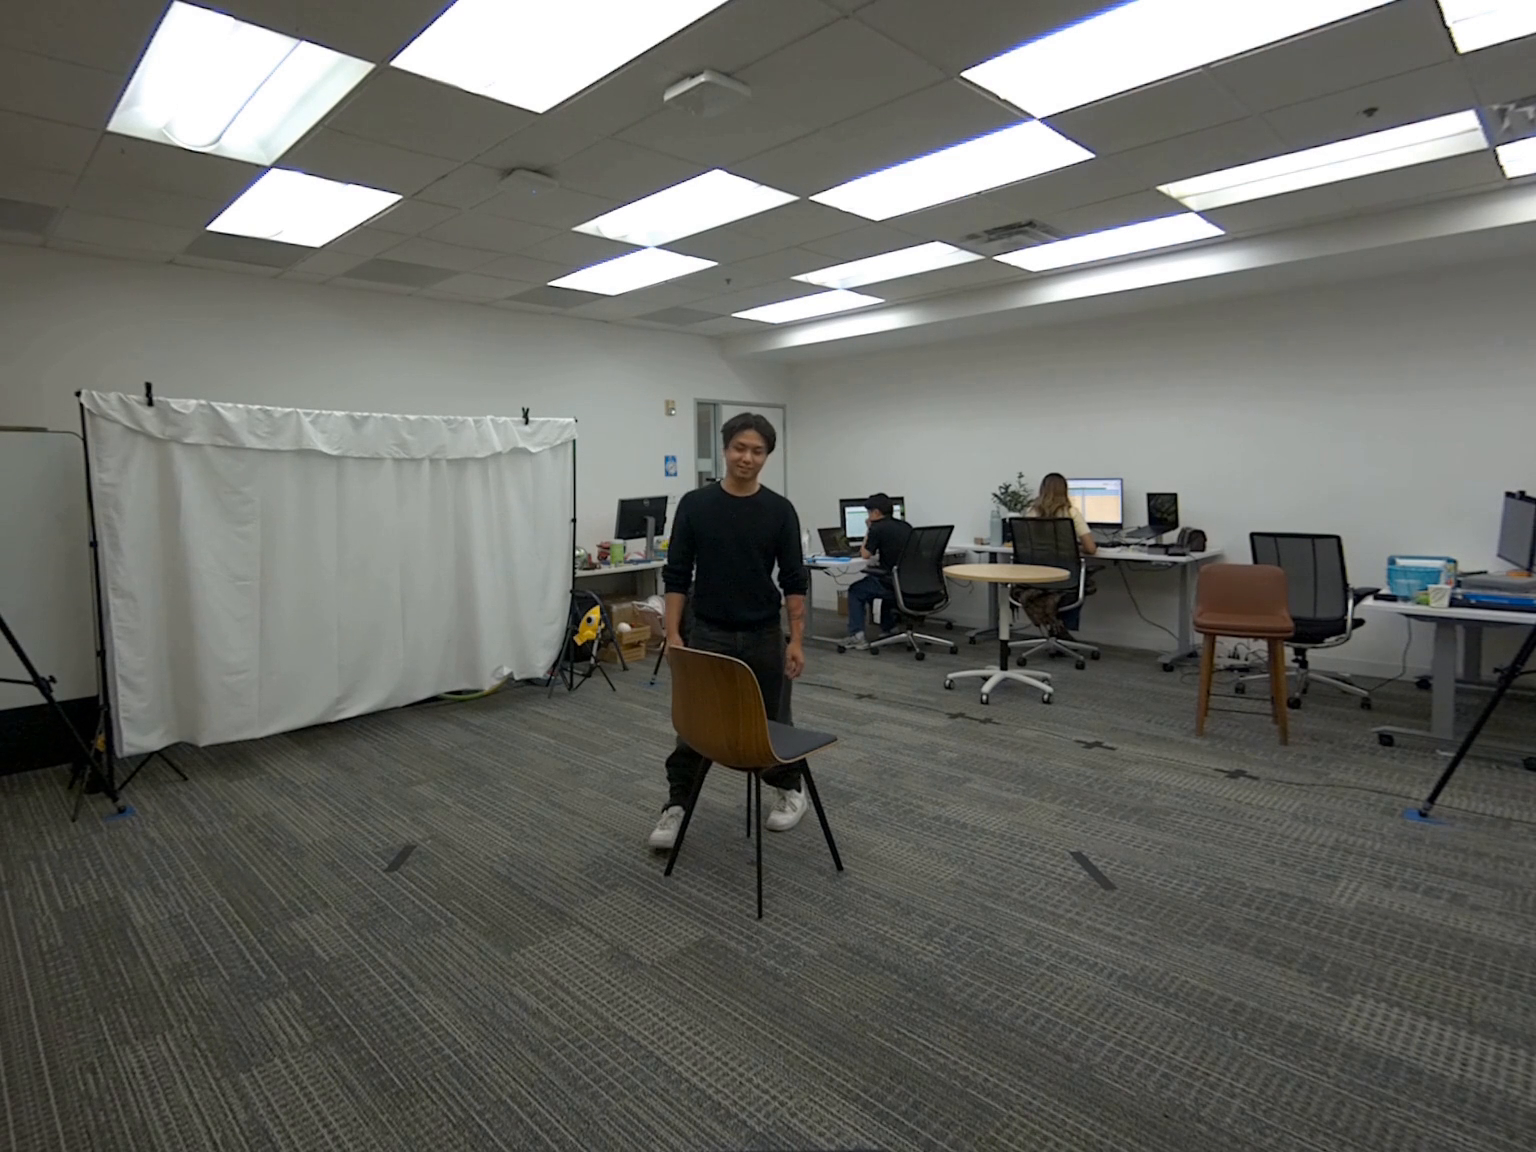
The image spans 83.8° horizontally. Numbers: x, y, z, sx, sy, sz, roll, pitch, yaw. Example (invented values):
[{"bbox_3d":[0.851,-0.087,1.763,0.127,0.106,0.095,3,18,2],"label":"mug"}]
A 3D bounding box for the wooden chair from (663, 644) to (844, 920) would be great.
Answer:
[{"bbox_3d":[-0.047,0.631,2.992,0.492,0.871,0.511,2,10,43],"label":"wooden chair"}]
